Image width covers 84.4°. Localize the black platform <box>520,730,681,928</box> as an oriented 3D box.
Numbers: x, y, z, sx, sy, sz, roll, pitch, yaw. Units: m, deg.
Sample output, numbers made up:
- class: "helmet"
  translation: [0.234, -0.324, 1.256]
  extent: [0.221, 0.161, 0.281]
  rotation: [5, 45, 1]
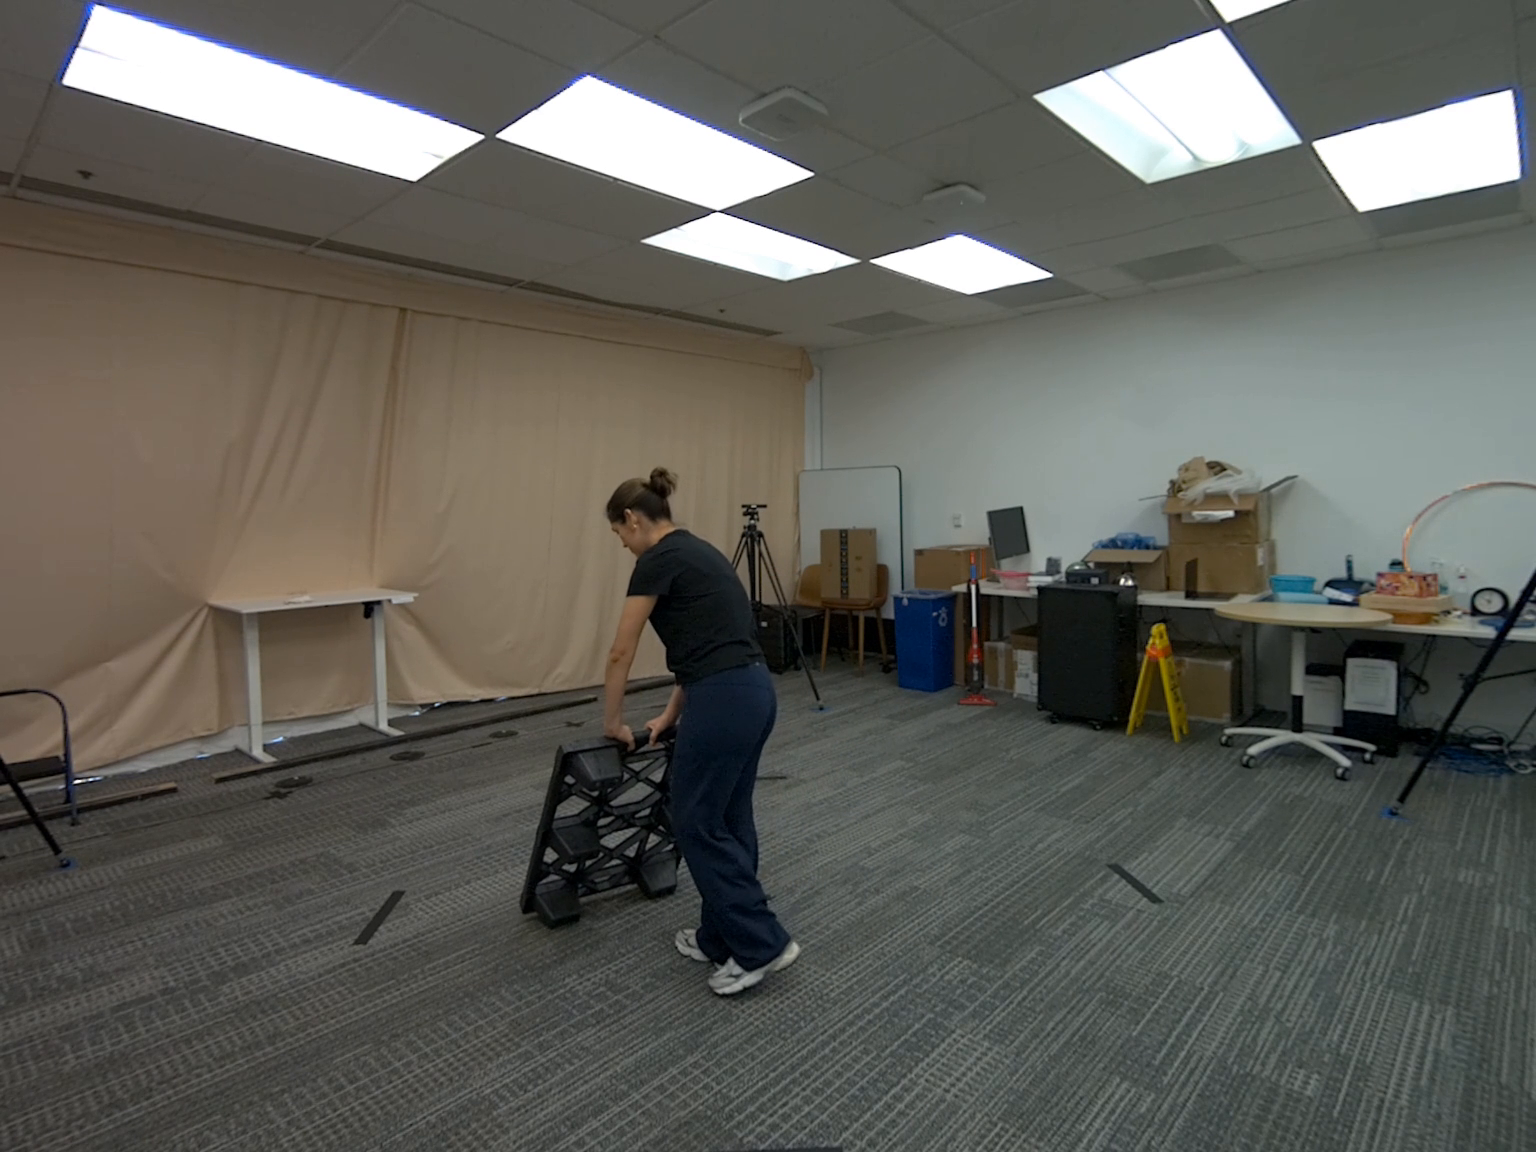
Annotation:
- class: "black platform"
  translation: [-0.441, 0.826, 2.773]
  extent: [0.589, 0.800, 0.148]
  rotation: [-4, 38, -32]
